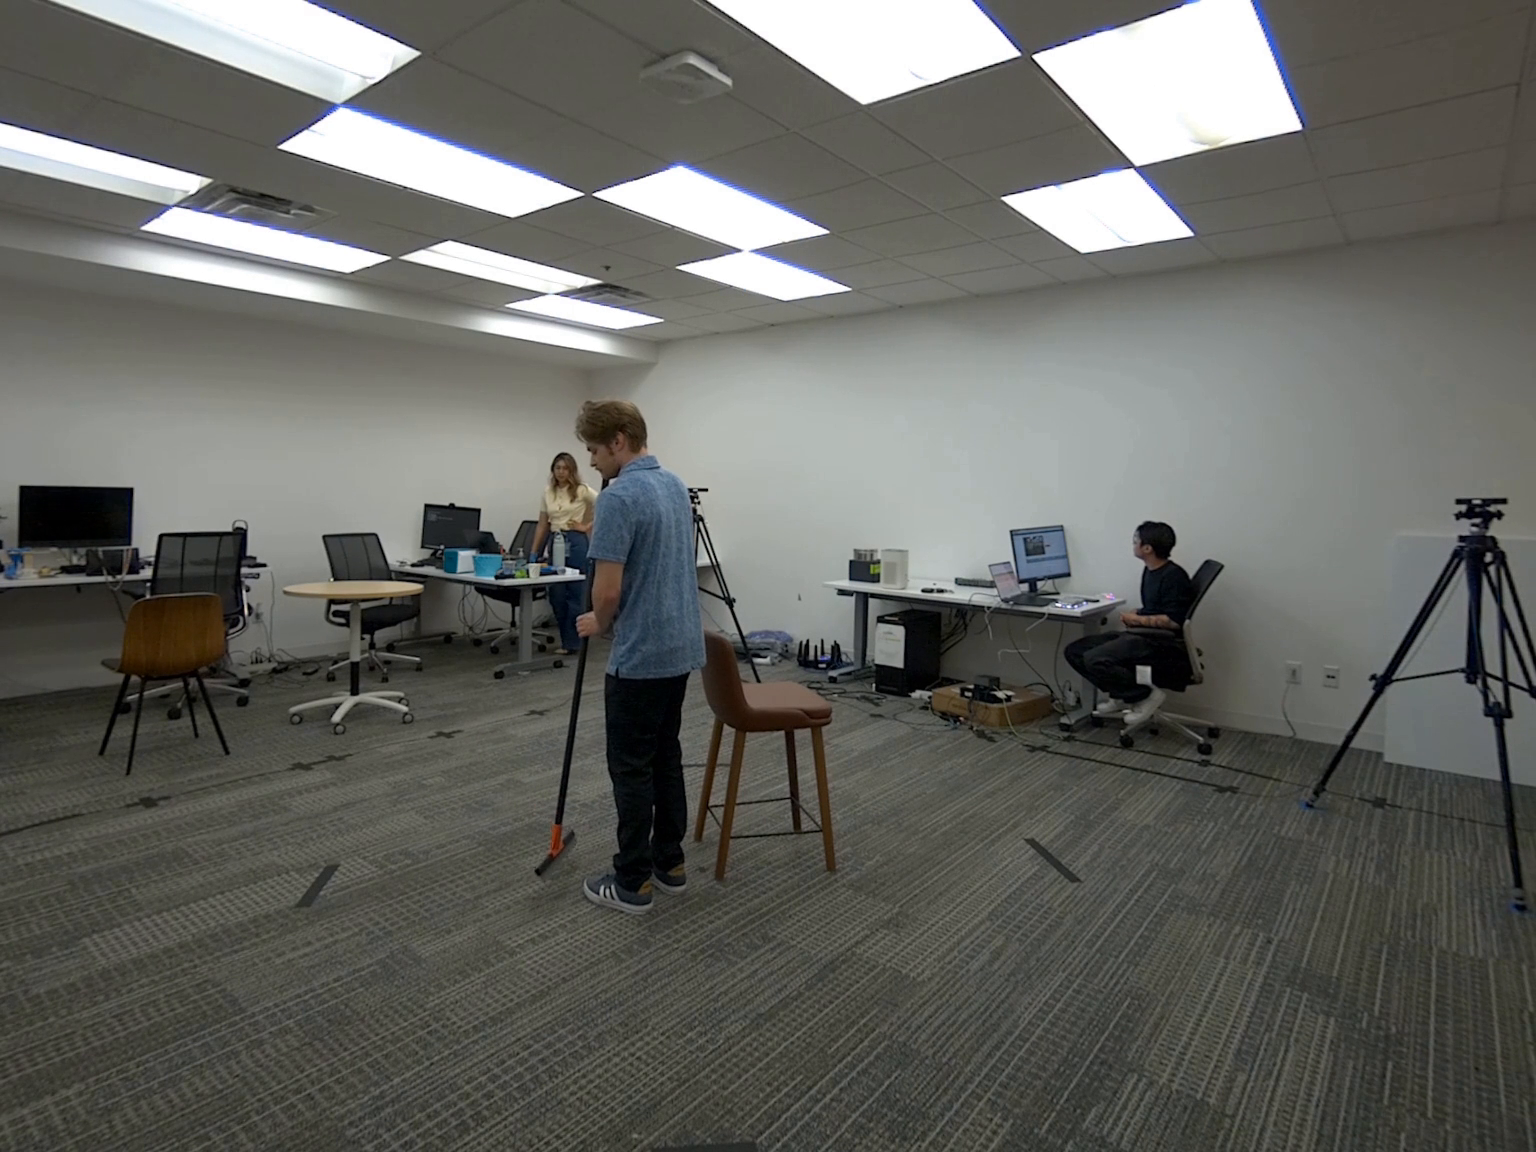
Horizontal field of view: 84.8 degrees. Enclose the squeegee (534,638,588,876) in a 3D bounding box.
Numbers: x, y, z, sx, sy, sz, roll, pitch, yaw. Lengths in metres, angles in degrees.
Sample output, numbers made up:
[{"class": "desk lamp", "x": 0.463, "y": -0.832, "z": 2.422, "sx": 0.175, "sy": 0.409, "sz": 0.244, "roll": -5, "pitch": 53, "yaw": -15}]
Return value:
[{"class": "squeegee", "x": -0.680, "y": 0.259, "z": 3.017, "sx": 0.053, "sy": 1.542, "sz": 0.433, "roll": 5, "pitch": -3, "yaw": 3}]
